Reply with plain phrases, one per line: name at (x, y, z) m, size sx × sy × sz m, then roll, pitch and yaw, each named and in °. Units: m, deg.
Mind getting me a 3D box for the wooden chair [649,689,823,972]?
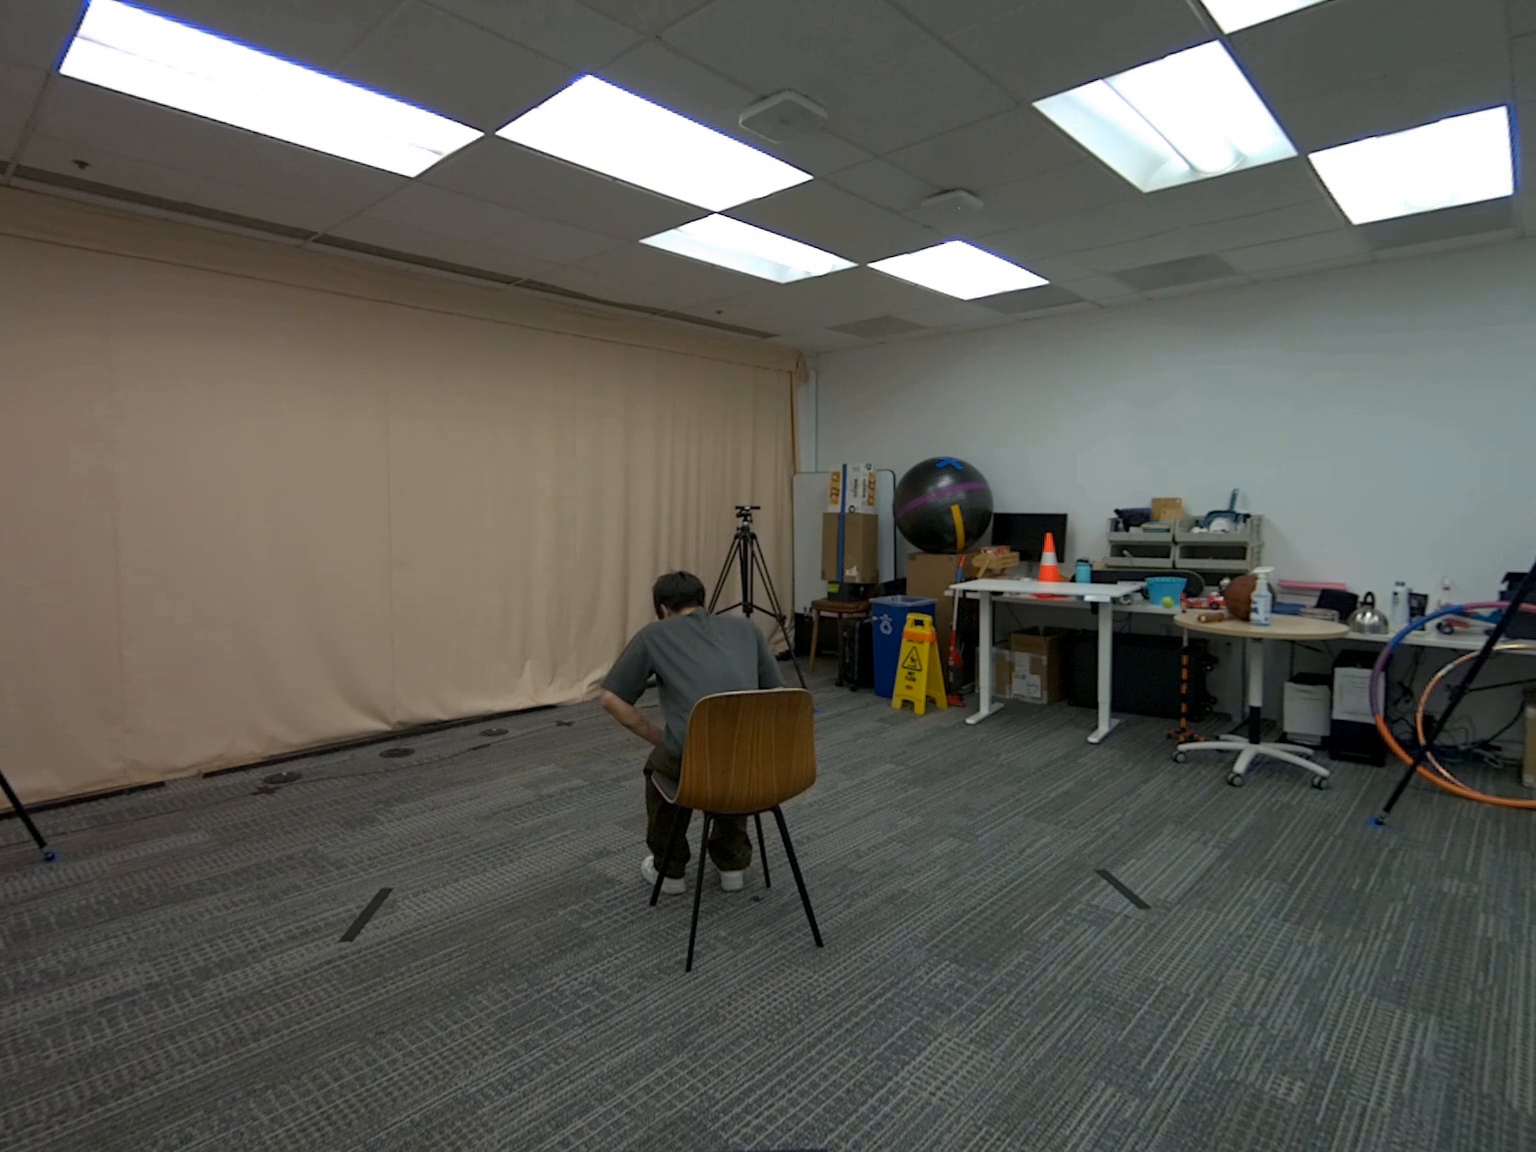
wooden chair at (-0.121, 0.734, 2.779) m, size 0.469 × 0.874 × 0.536 m, roll -2°, pitch 7°, yaw -20°
